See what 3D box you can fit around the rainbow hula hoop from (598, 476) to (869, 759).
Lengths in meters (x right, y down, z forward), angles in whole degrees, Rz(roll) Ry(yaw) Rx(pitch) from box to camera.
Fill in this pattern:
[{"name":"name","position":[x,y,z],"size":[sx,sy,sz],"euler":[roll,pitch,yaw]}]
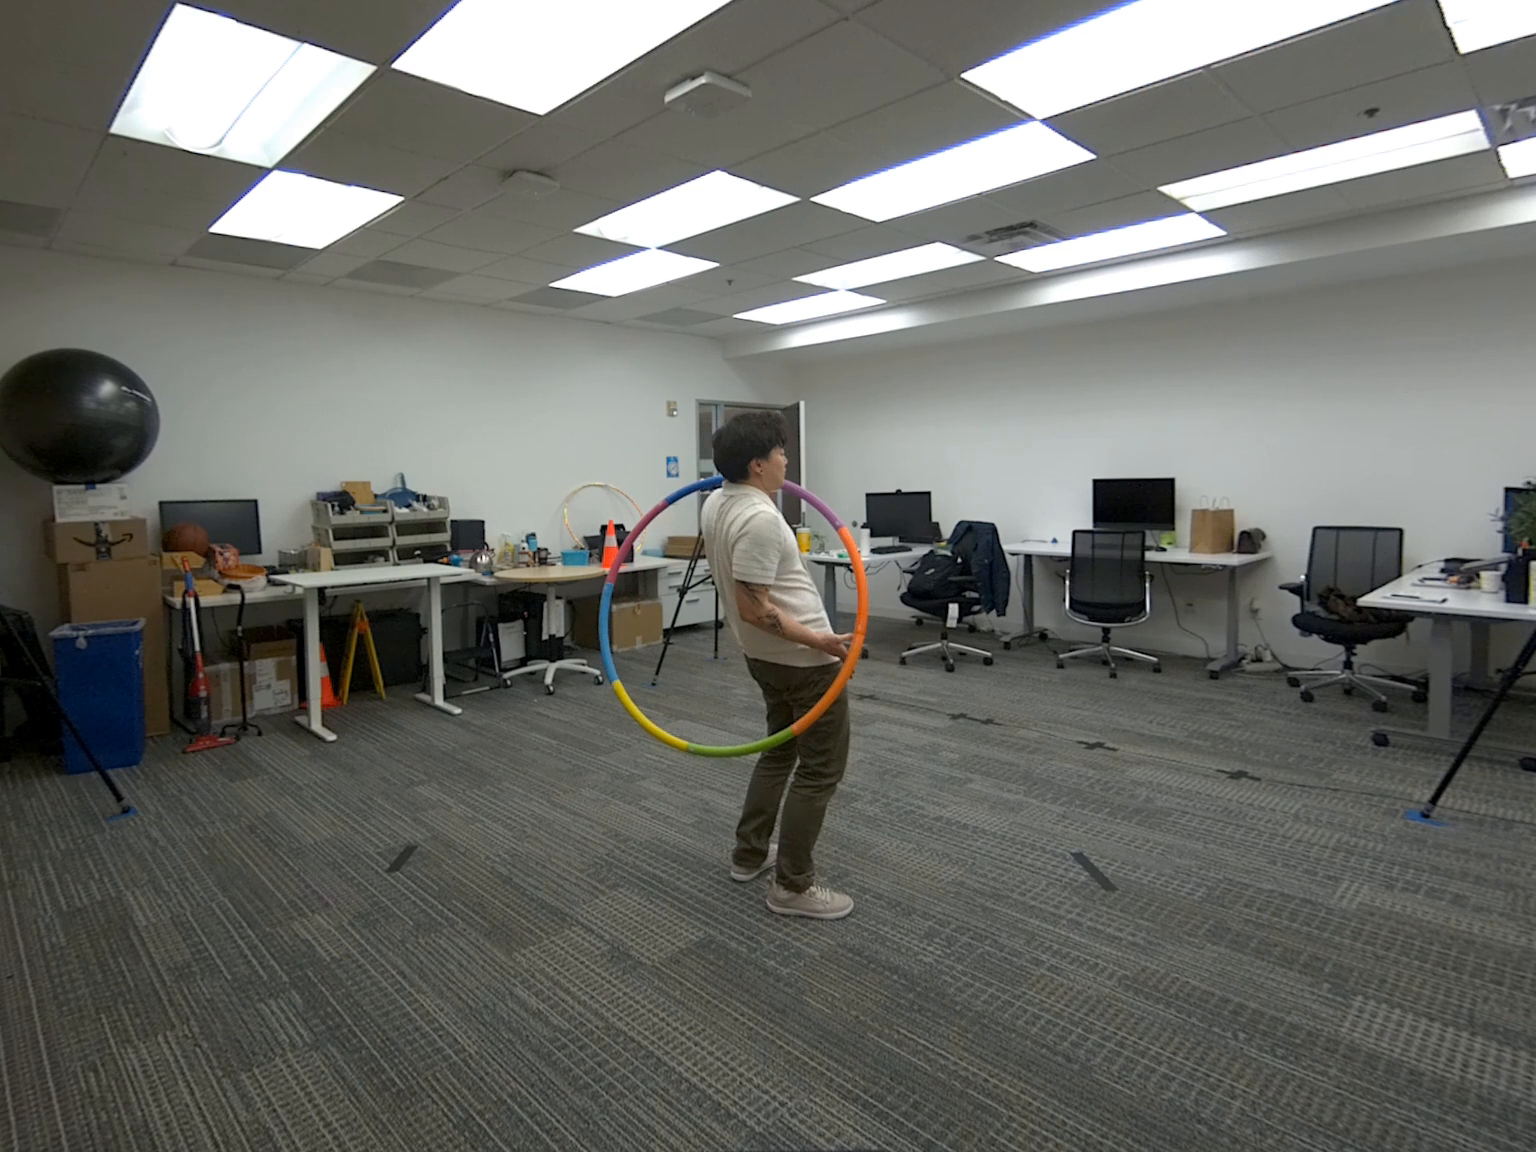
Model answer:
[{"name":"rainbow hula hoop","position":[-0.140,0.096,2.893],"size":[1.000,0.991,0.034],"euler":[1,-19,24]}]
